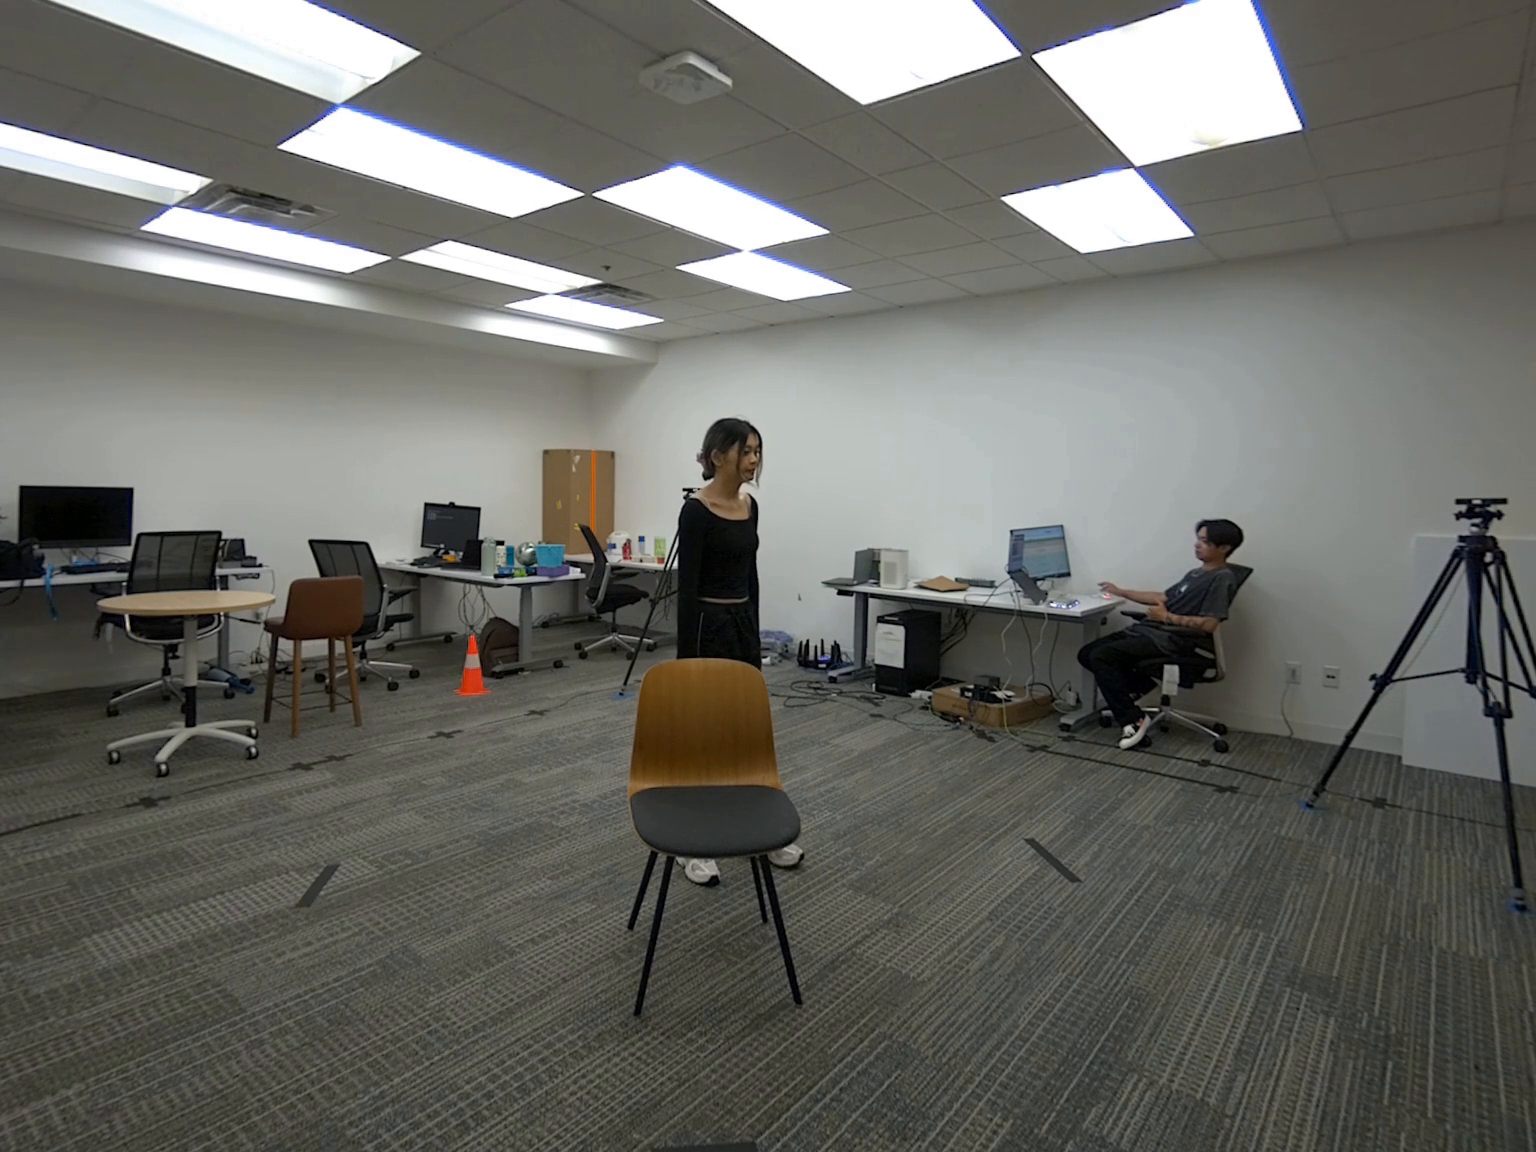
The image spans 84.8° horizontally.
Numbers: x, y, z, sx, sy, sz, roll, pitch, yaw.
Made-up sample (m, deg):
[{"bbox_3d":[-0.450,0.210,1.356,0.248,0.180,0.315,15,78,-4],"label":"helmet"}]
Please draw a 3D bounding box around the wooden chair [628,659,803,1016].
[{"bbox_3d":[-0.166,0.706,2.450,0.473,0.878,0.528,1,0,-10],"label":"wooden chair"}]
